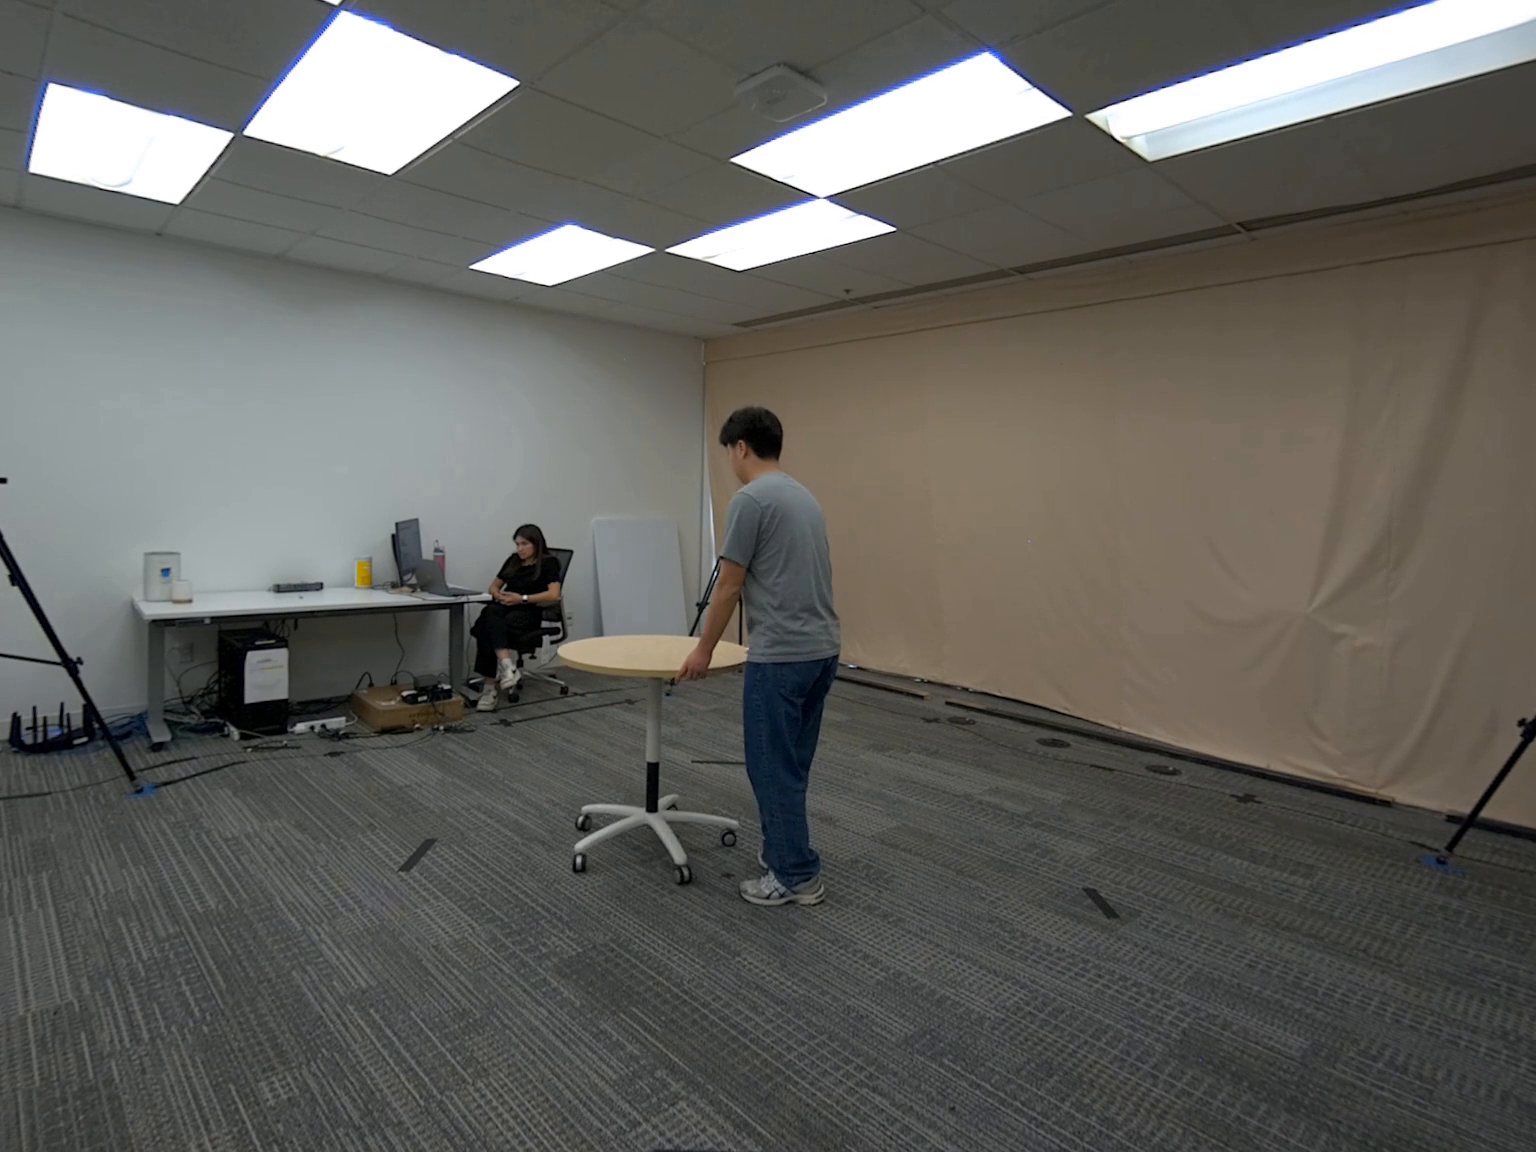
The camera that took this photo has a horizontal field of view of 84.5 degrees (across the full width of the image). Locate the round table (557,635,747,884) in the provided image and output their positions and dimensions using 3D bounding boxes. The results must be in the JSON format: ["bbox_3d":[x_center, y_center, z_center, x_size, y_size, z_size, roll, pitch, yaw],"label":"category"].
[{"bbox_3d":[-0.458,0.688,3.337,0.763,0.792,0.766,2,3,-1],"label":"round table"}]
